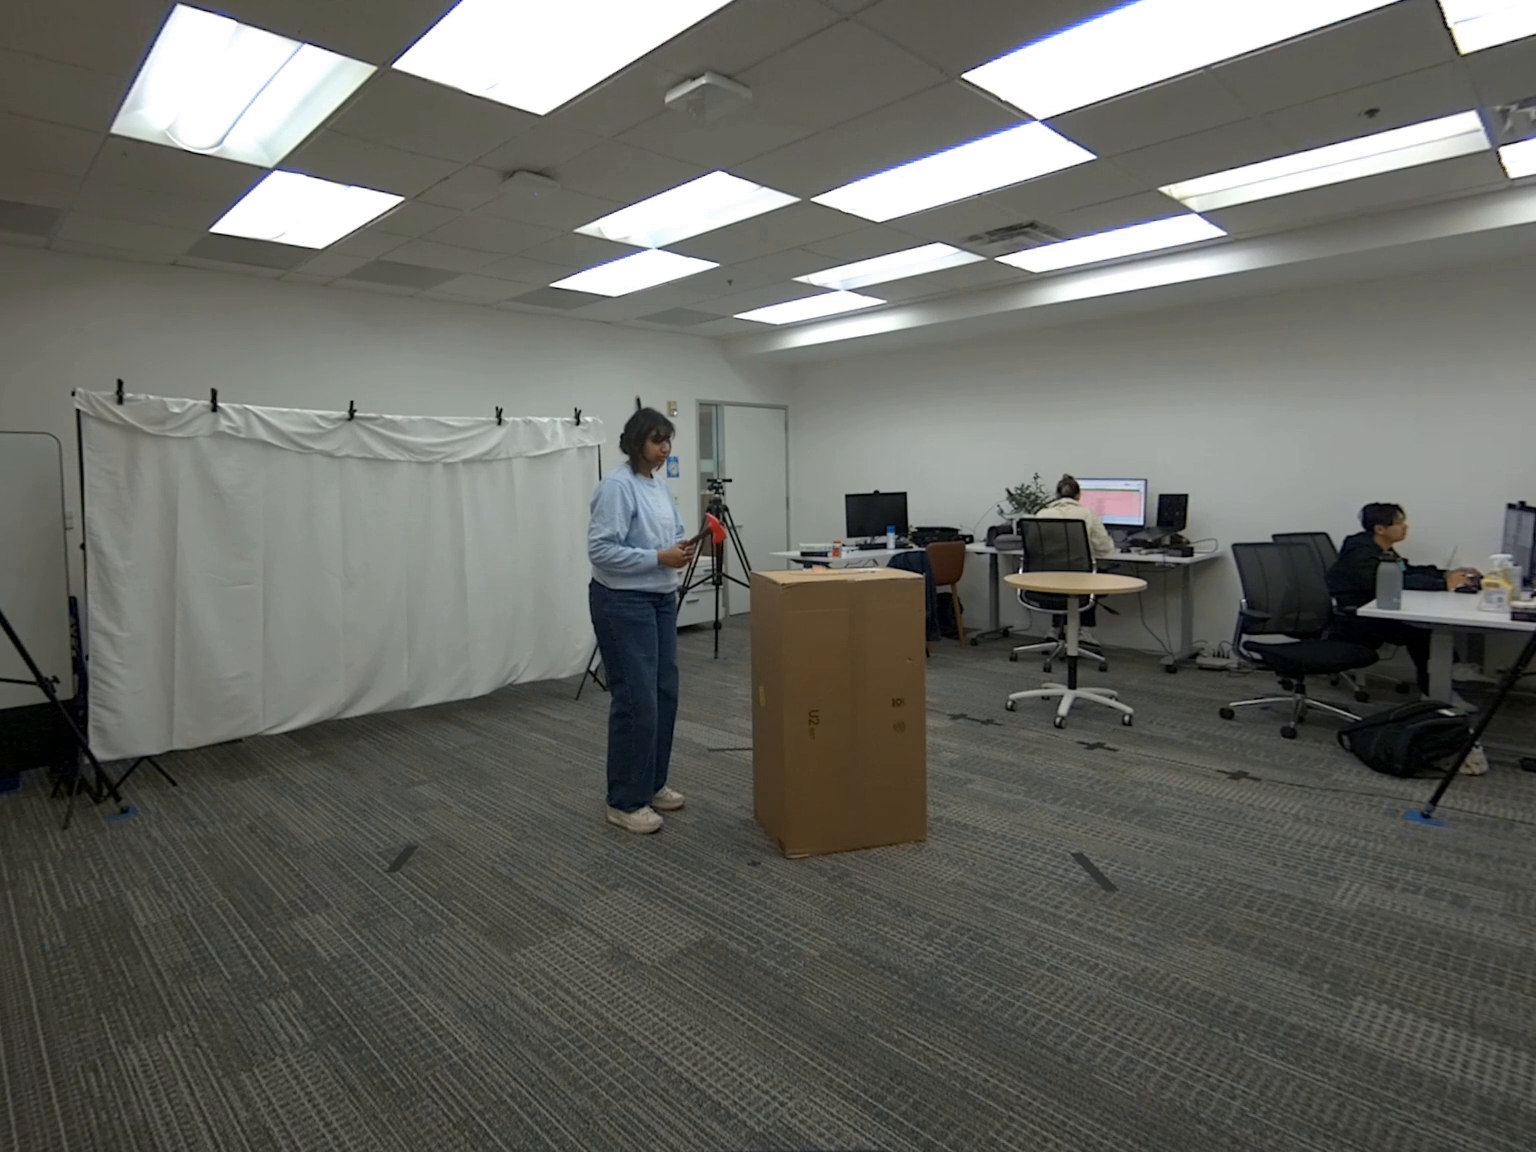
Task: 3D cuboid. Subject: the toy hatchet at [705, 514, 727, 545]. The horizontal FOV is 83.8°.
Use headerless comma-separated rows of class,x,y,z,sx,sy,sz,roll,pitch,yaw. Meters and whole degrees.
toy hatchet,-0.290,-0.122,3.443,0.129,0.269,0.030,35,23,-14
